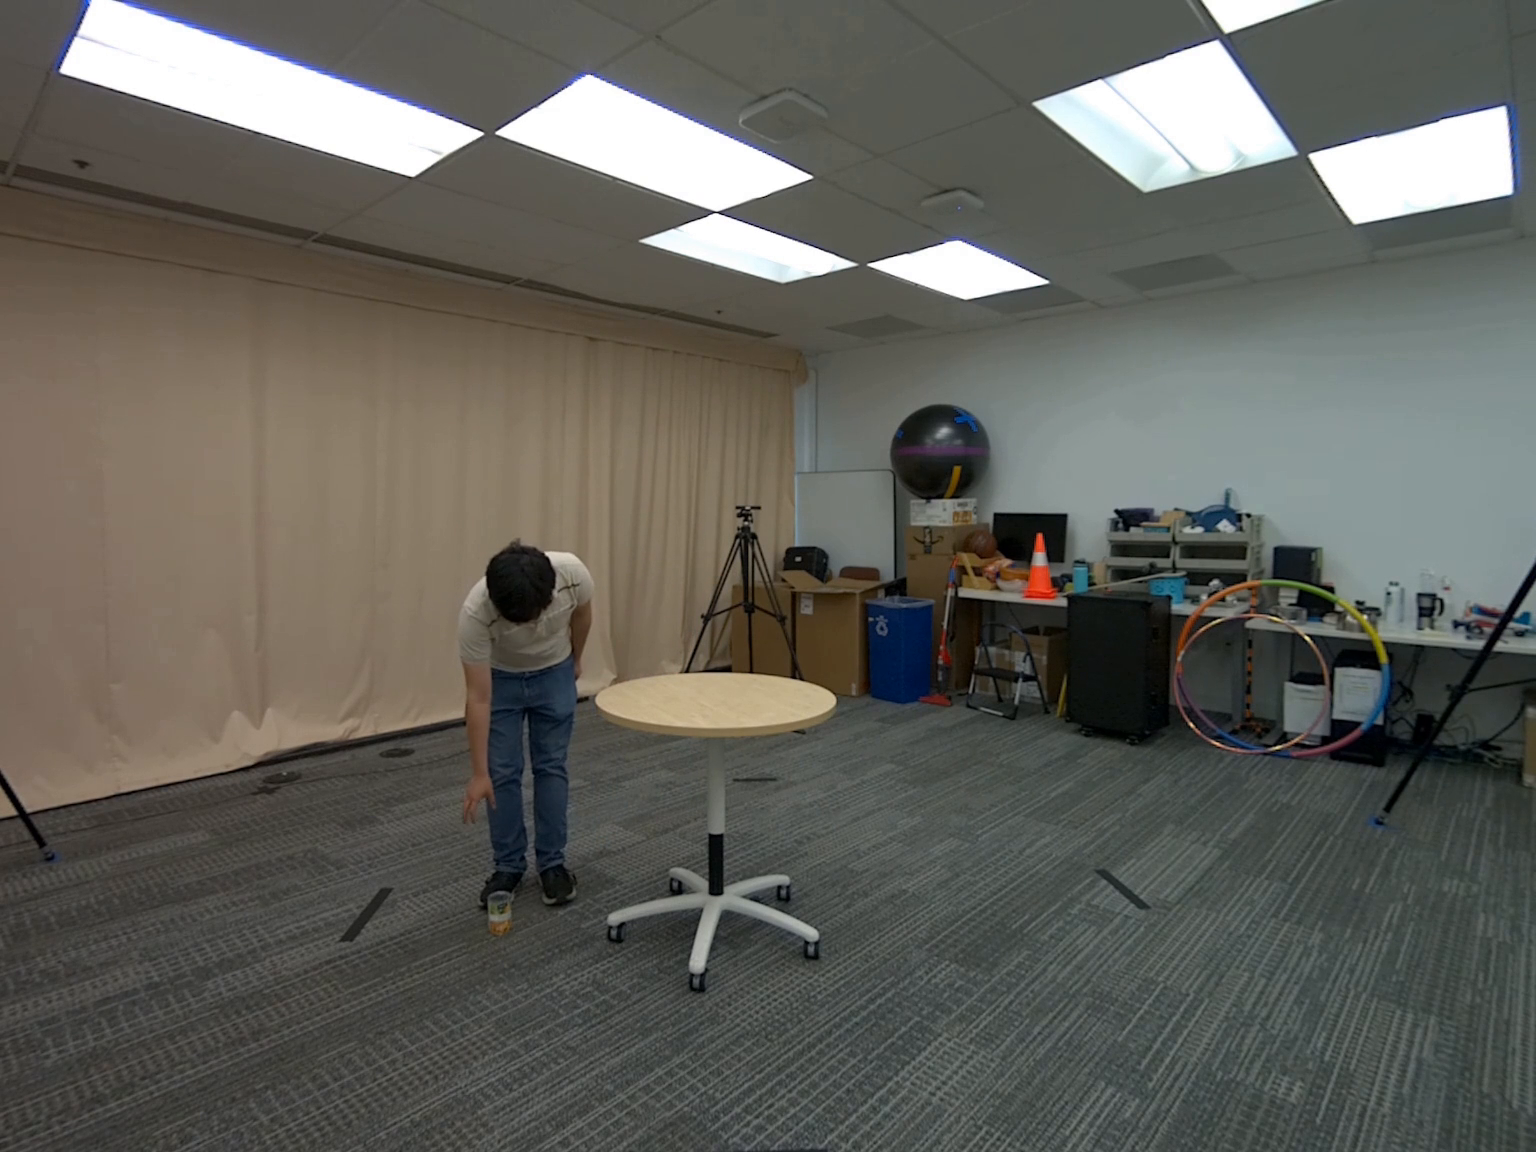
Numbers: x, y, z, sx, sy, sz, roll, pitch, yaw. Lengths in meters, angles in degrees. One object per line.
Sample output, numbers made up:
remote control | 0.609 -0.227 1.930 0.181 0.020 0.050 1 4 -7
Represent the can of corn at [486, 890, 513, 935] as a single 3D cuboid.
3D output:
can of corn | -0.885 1.107 2.777 0.074 0.111 0.074 -3 2 -2
